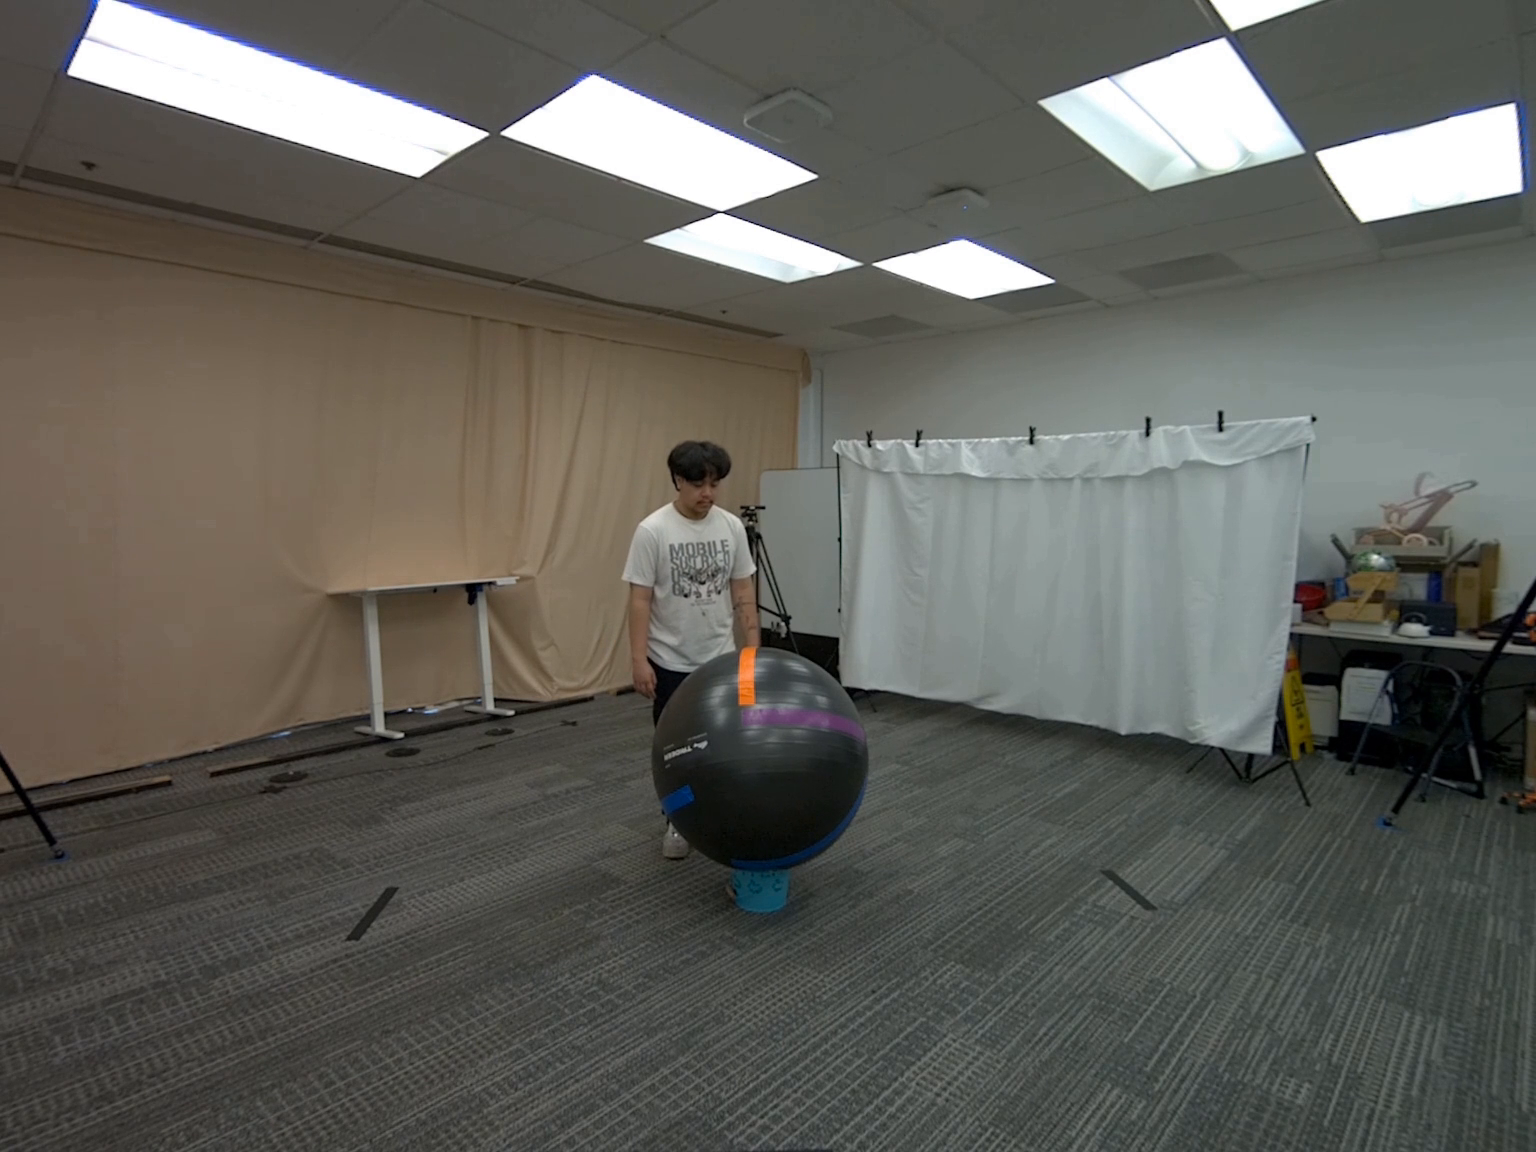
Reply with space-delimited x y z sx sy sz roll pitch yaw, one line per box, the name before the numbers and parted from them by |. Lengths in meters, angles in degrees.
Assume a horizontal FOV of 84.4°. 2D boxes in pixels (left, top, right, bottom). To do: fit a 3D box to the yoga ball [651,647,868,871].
yoga ball | -0.032 0.635 2.952 0.757 0.756 0.761 0 4 -2
